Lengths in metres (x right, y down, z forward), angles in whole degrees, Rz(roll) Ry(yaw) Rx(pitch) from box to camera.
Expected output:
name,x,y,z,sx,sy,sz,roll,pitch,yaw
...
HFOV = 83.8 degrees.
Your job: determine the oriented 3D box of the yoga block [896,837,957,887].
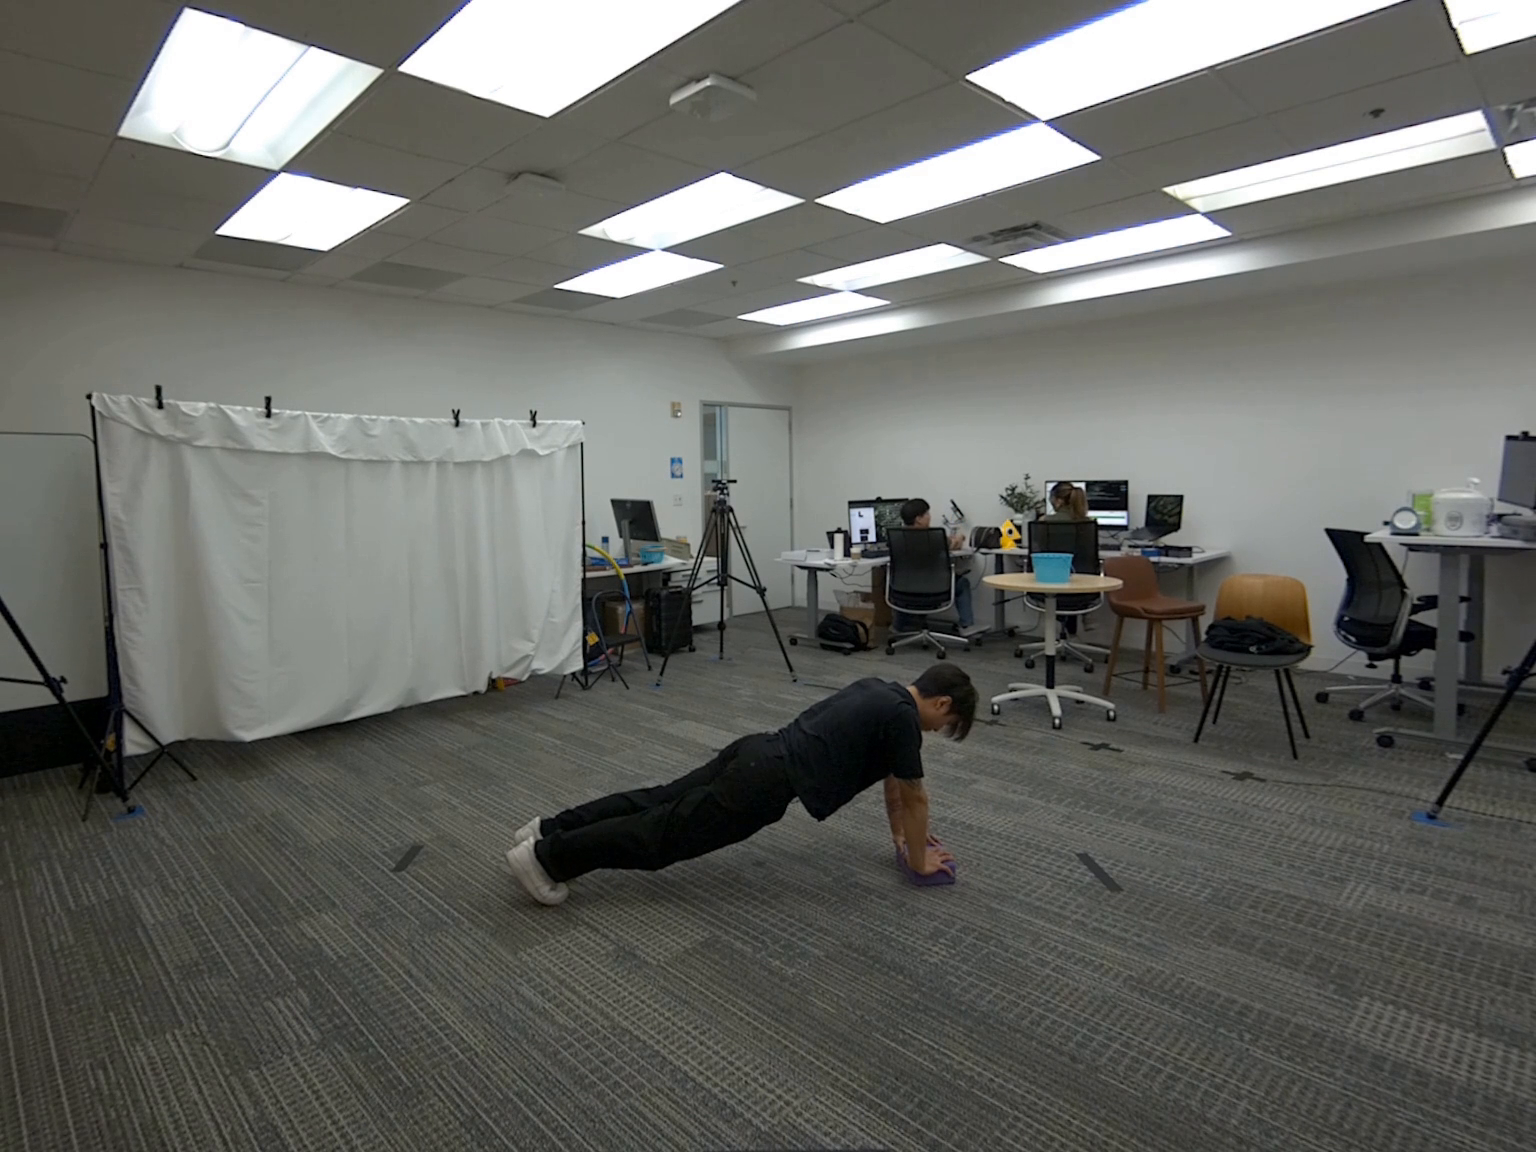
name,x,y,z,sx,sy,sz,roll,pitch,yaw
yoga block,0.555,1.004,3.024,0.148,0.076,0.232,-3,5,-8
